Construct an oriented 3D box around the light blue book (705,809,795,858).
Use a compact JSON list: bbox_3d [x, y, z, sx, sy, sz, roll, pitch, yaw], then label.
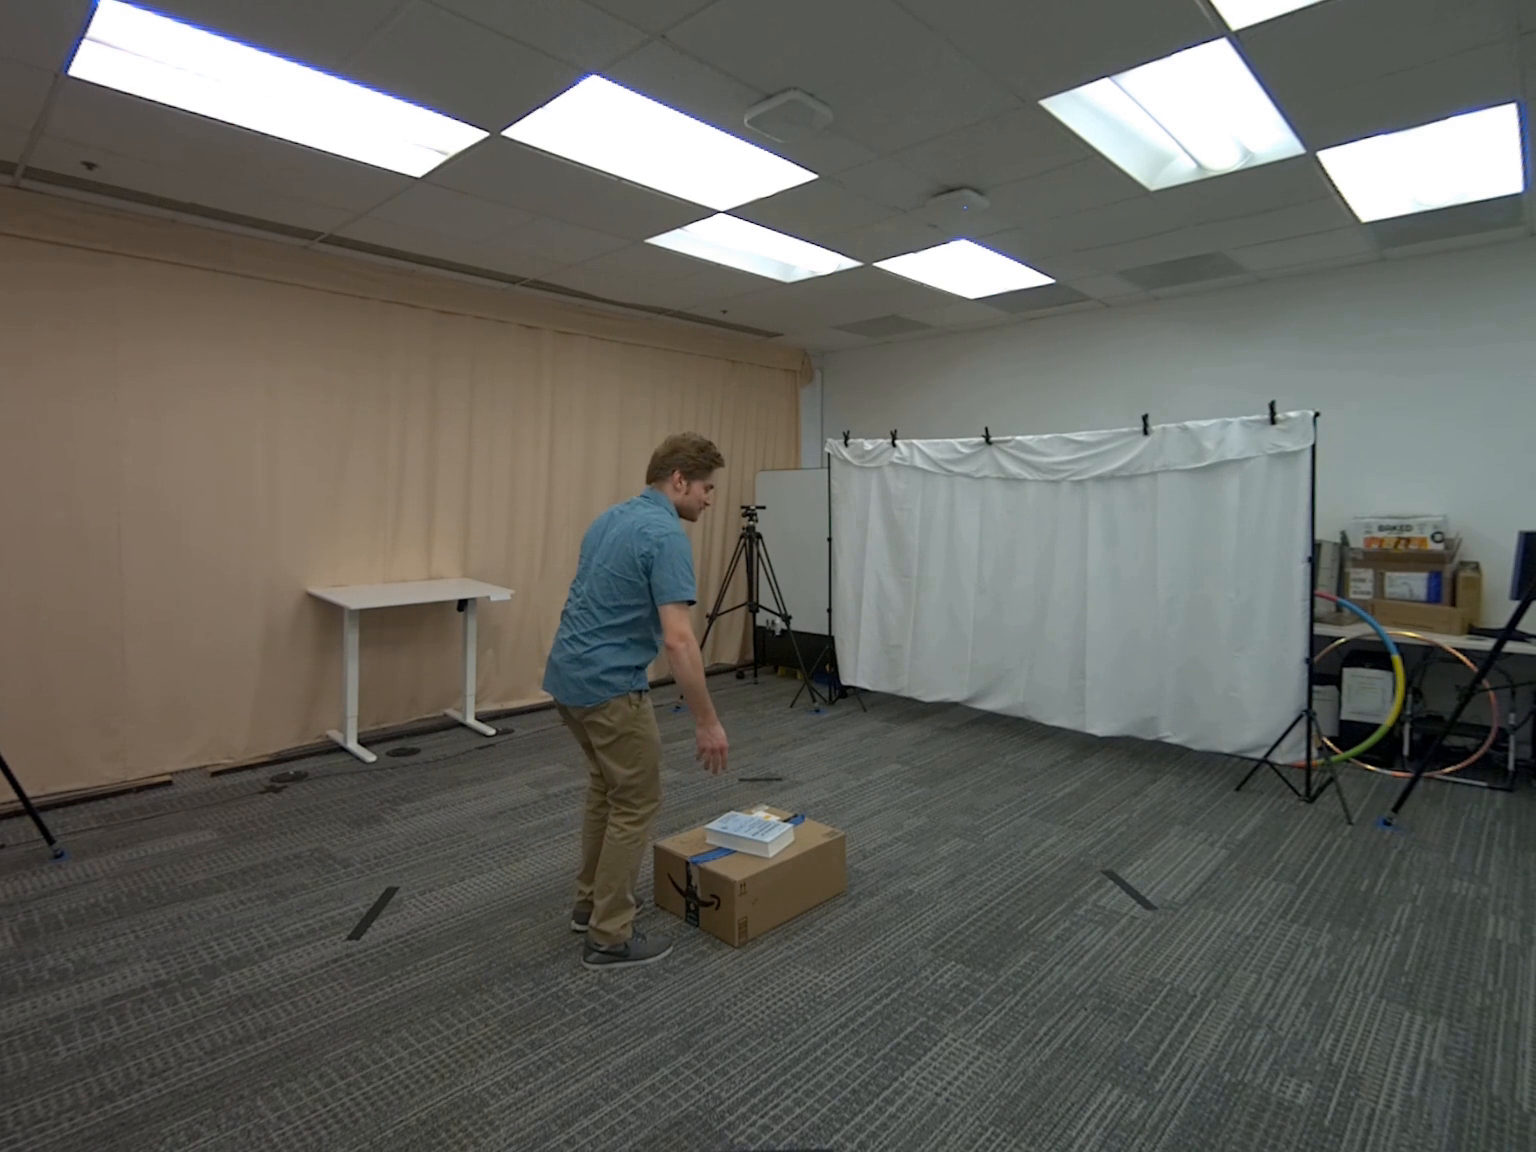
[{"bbox_3d":[-0.061,0.903,2.963,0.269,0.059,0.186,2,6,31],"label":"light blue book"}]
